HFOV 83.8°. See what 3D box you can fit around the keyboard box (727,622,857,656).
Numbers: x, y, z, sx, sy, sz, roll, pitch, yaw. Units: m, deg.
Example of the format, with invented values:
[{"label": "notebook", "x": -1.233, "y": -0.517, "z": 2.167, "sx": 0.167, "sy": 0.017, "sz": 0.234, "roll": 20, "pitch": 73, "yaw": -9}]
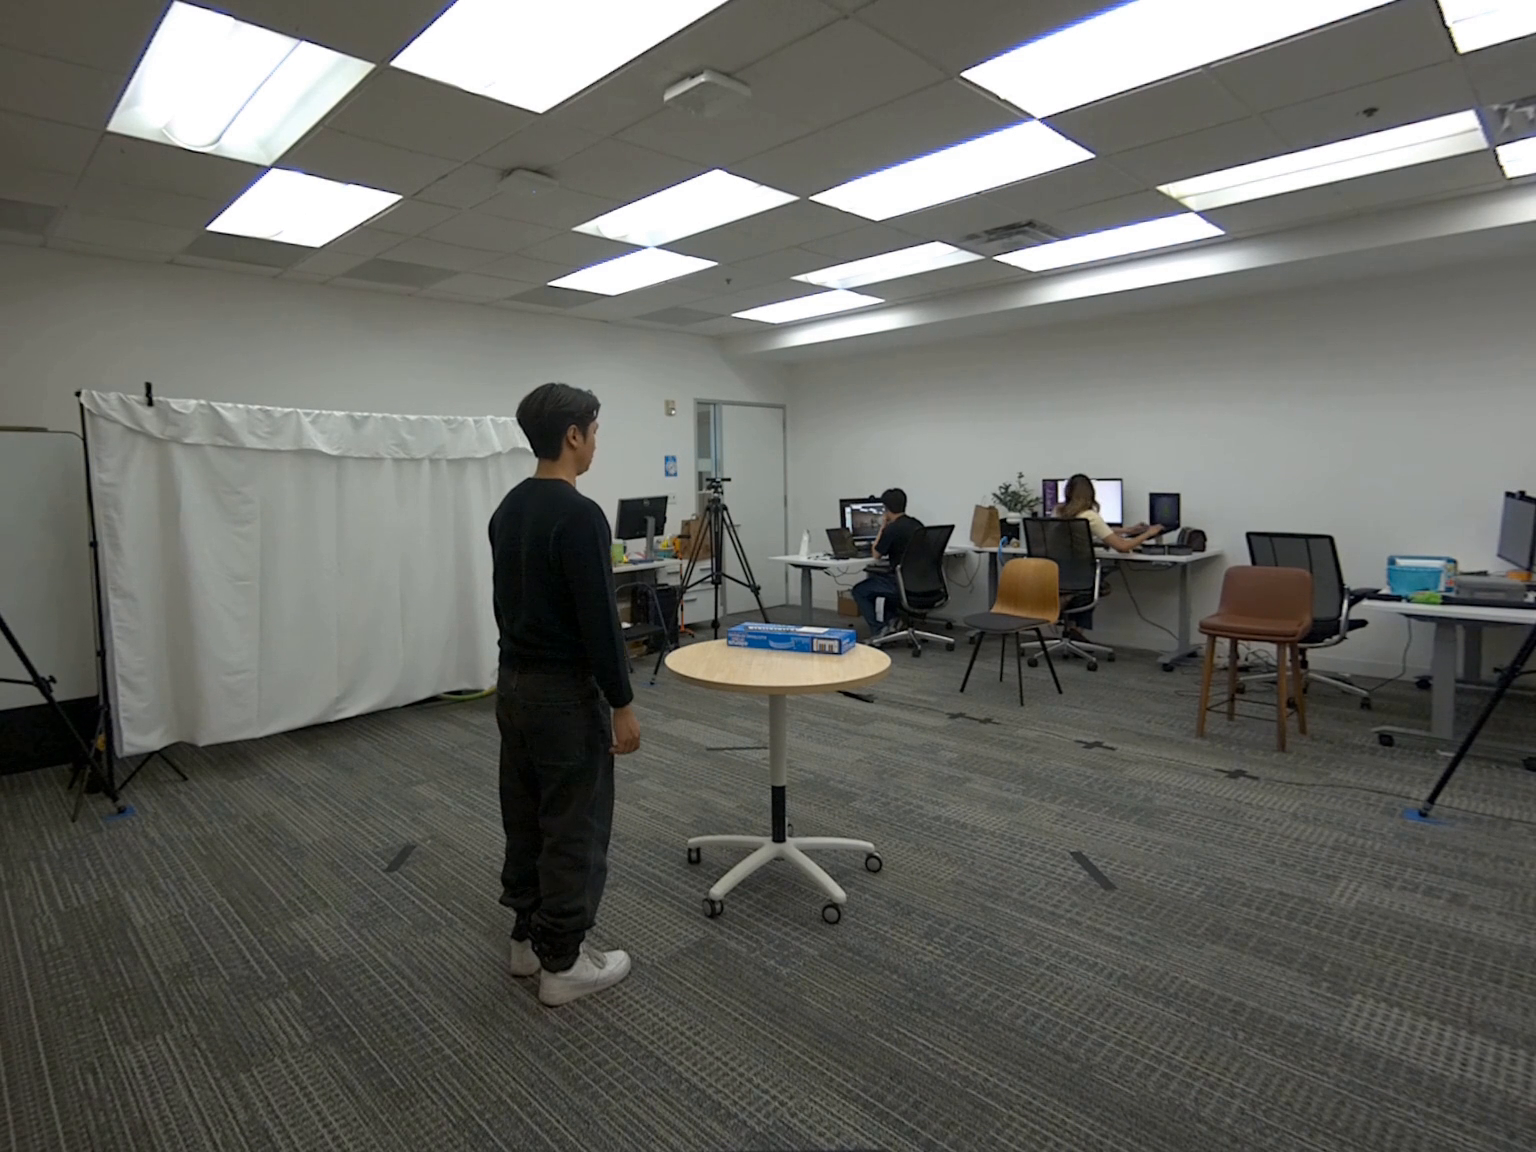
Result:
[{"label": "keyboard box", "x": 0.089, "y": 0.228, "z": 3.110, "sx": 0.447, "sy": 0.059, "sz": 0.173, "roll": 3, "pitch": 8, "yaw": 25}]
